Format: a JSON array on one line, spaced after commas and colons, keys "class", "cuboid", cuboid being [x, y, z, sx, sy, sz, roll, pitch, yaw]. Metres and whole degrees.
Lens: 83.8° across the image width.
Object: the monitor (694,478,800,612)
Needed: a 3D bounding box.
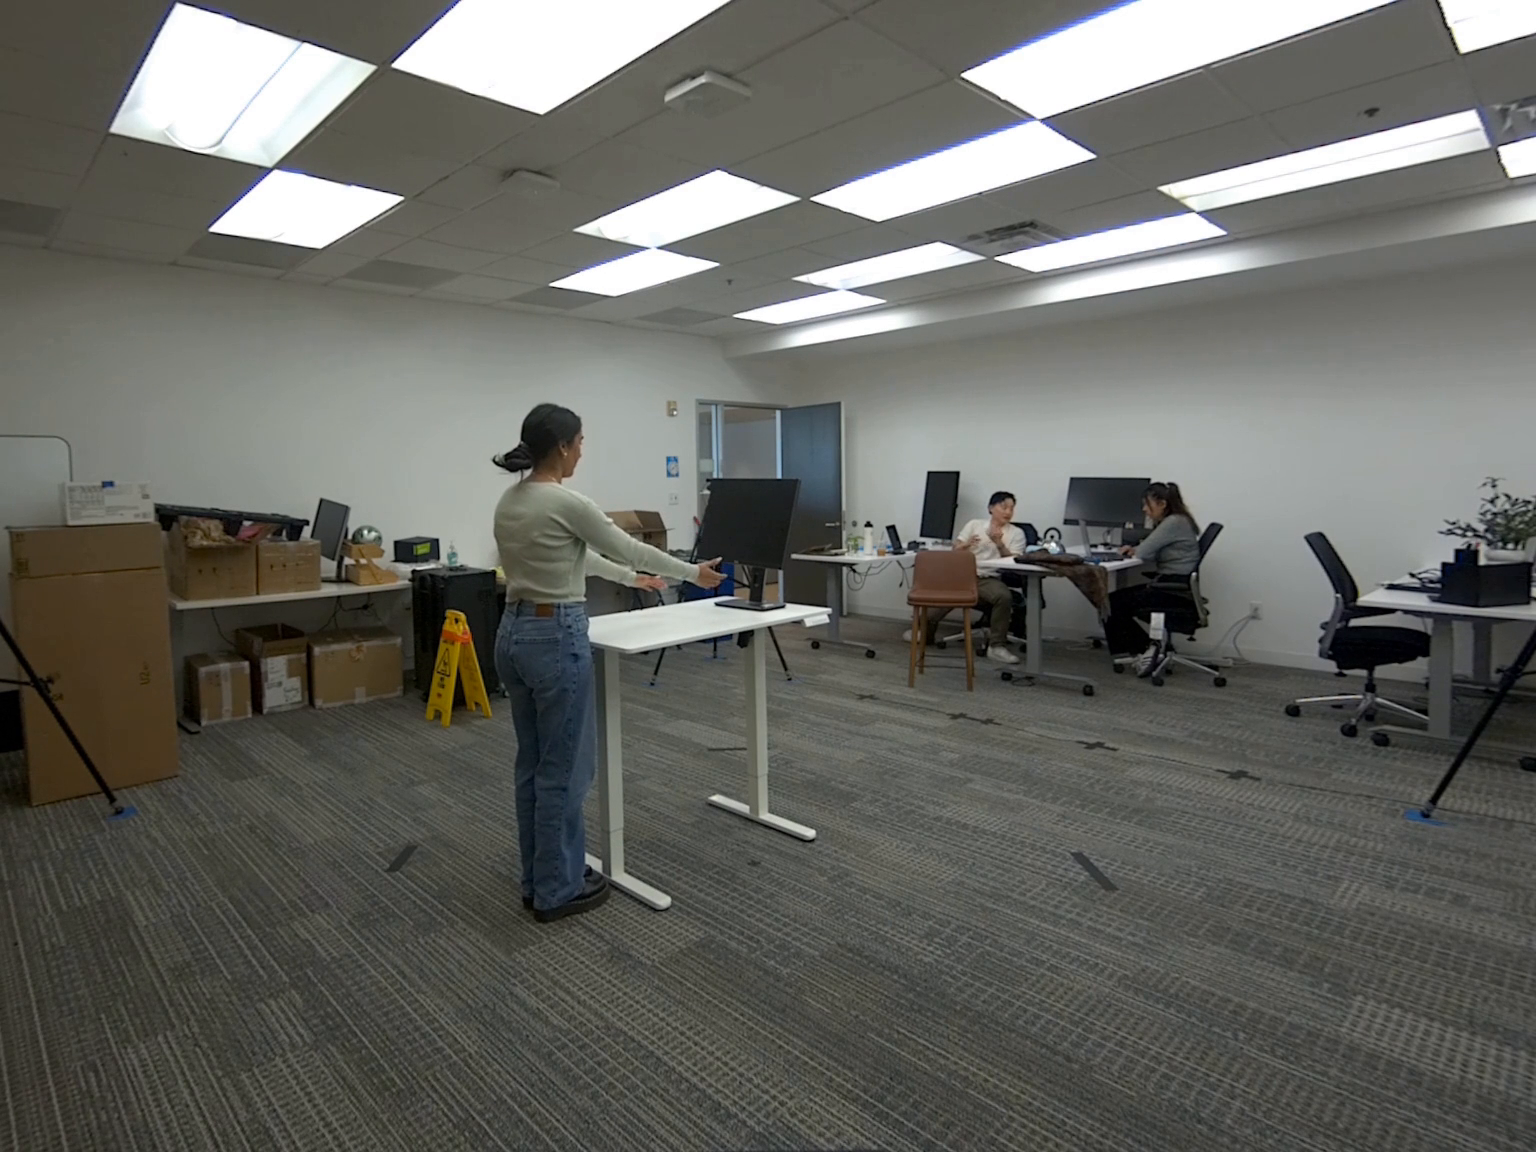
[{"class": "monitor", "cuboid": [-0.068, -0.130, 3.449, 0.182, 0.521, 0.556, -2, 5, -42]}]
